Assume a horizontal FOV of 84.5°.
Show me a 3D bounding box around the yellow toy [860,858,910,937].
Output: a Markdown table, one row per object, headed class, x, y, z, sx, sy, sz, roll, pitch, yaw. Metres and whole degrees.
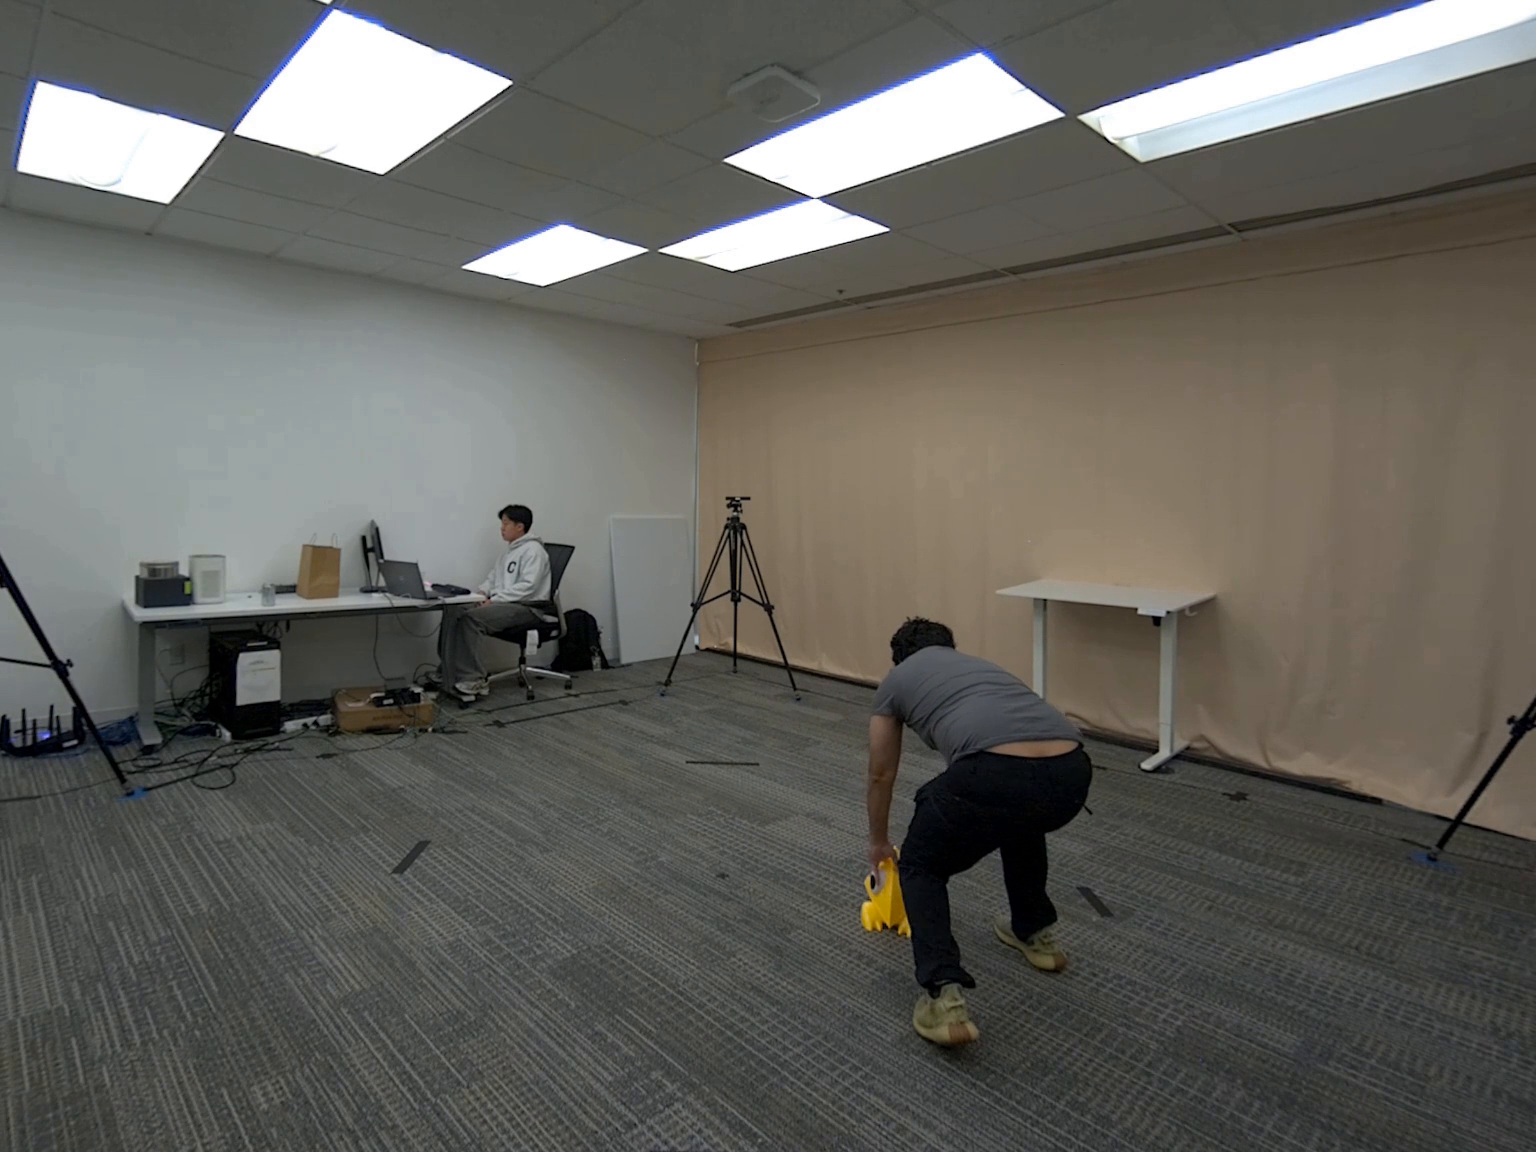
| class | x | y | z | sx | sy | sz | roll | pitch | yaw |
| --- | --- | --- | --- | --- | --- | --- | --- | --- | --- |
| yellow toy | 0.411 | 1.035 | 2.792 | 0.207 | 0.230 | 0.191 | 4 | 3 | 12 |
